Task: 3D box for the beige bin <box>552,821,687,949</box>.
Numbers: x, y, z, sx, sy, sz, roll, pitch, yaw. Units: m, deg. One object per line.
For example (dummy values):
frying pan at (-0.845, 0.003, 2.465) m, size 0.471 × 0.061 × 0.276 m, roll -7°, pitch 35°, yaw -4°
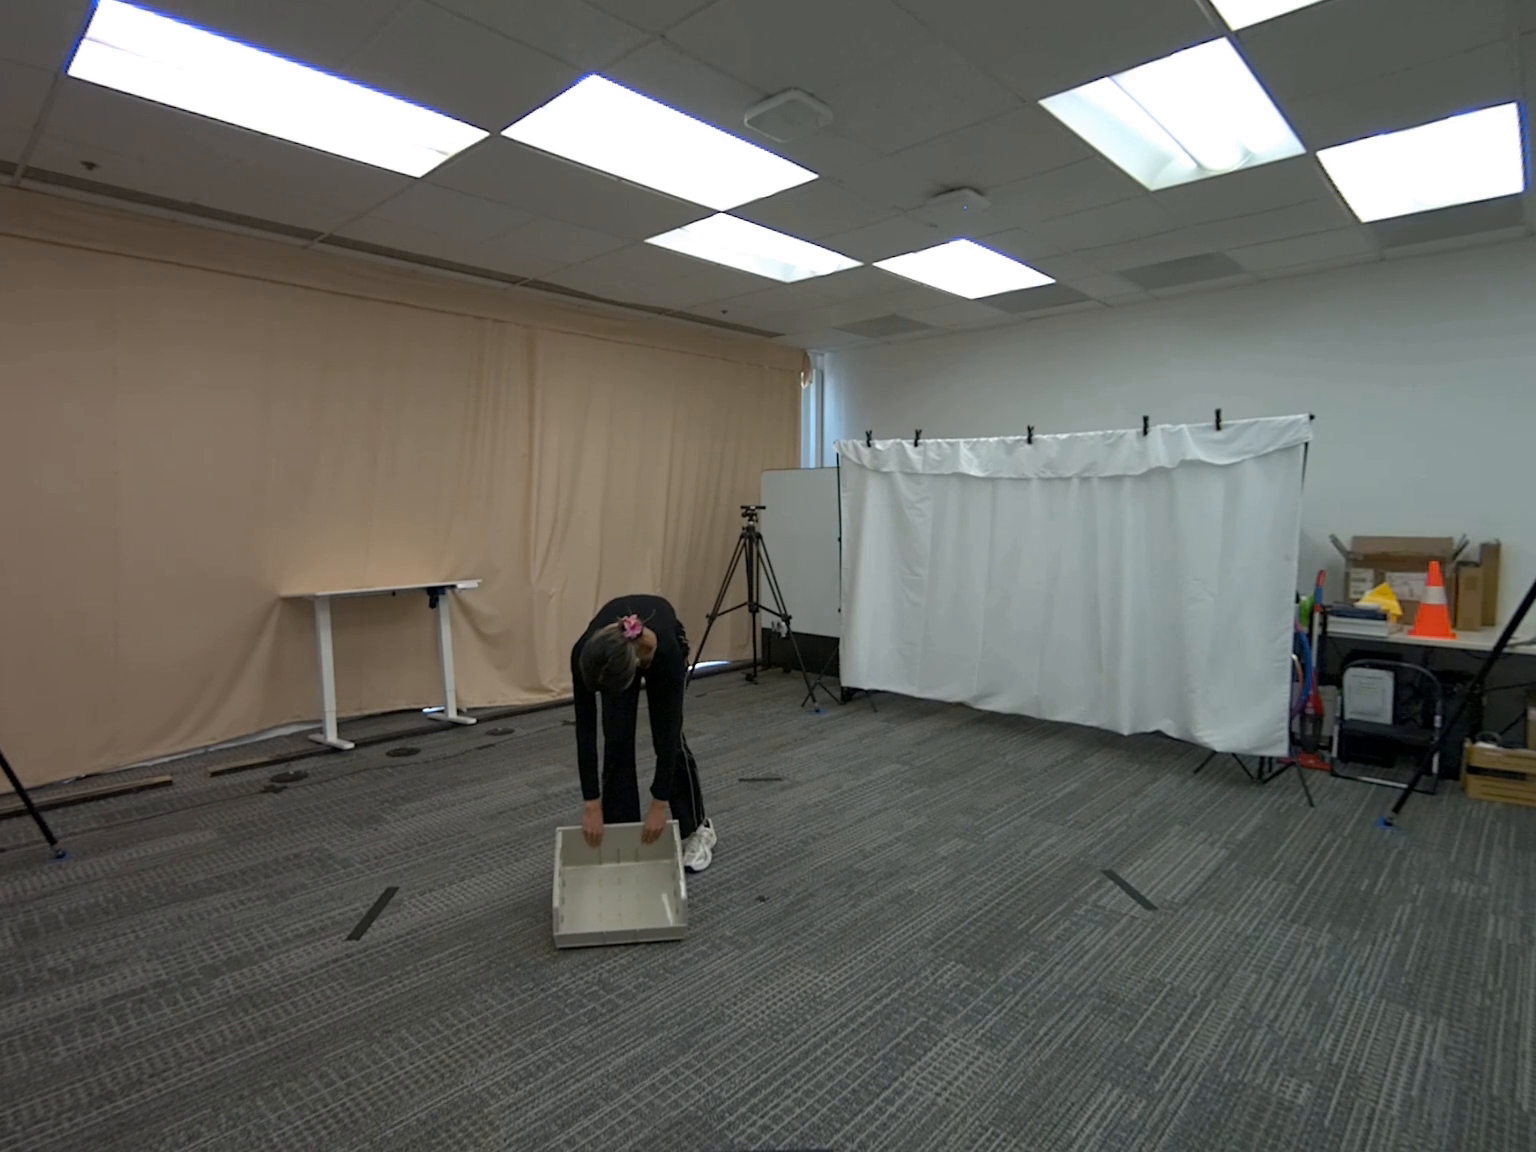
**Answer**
beige bin at (-0.492, 1.032, 2.800) m, size 0.419 × 0.186 × 0.385 m, roll -2°, pitch 24°, yaw -8°
